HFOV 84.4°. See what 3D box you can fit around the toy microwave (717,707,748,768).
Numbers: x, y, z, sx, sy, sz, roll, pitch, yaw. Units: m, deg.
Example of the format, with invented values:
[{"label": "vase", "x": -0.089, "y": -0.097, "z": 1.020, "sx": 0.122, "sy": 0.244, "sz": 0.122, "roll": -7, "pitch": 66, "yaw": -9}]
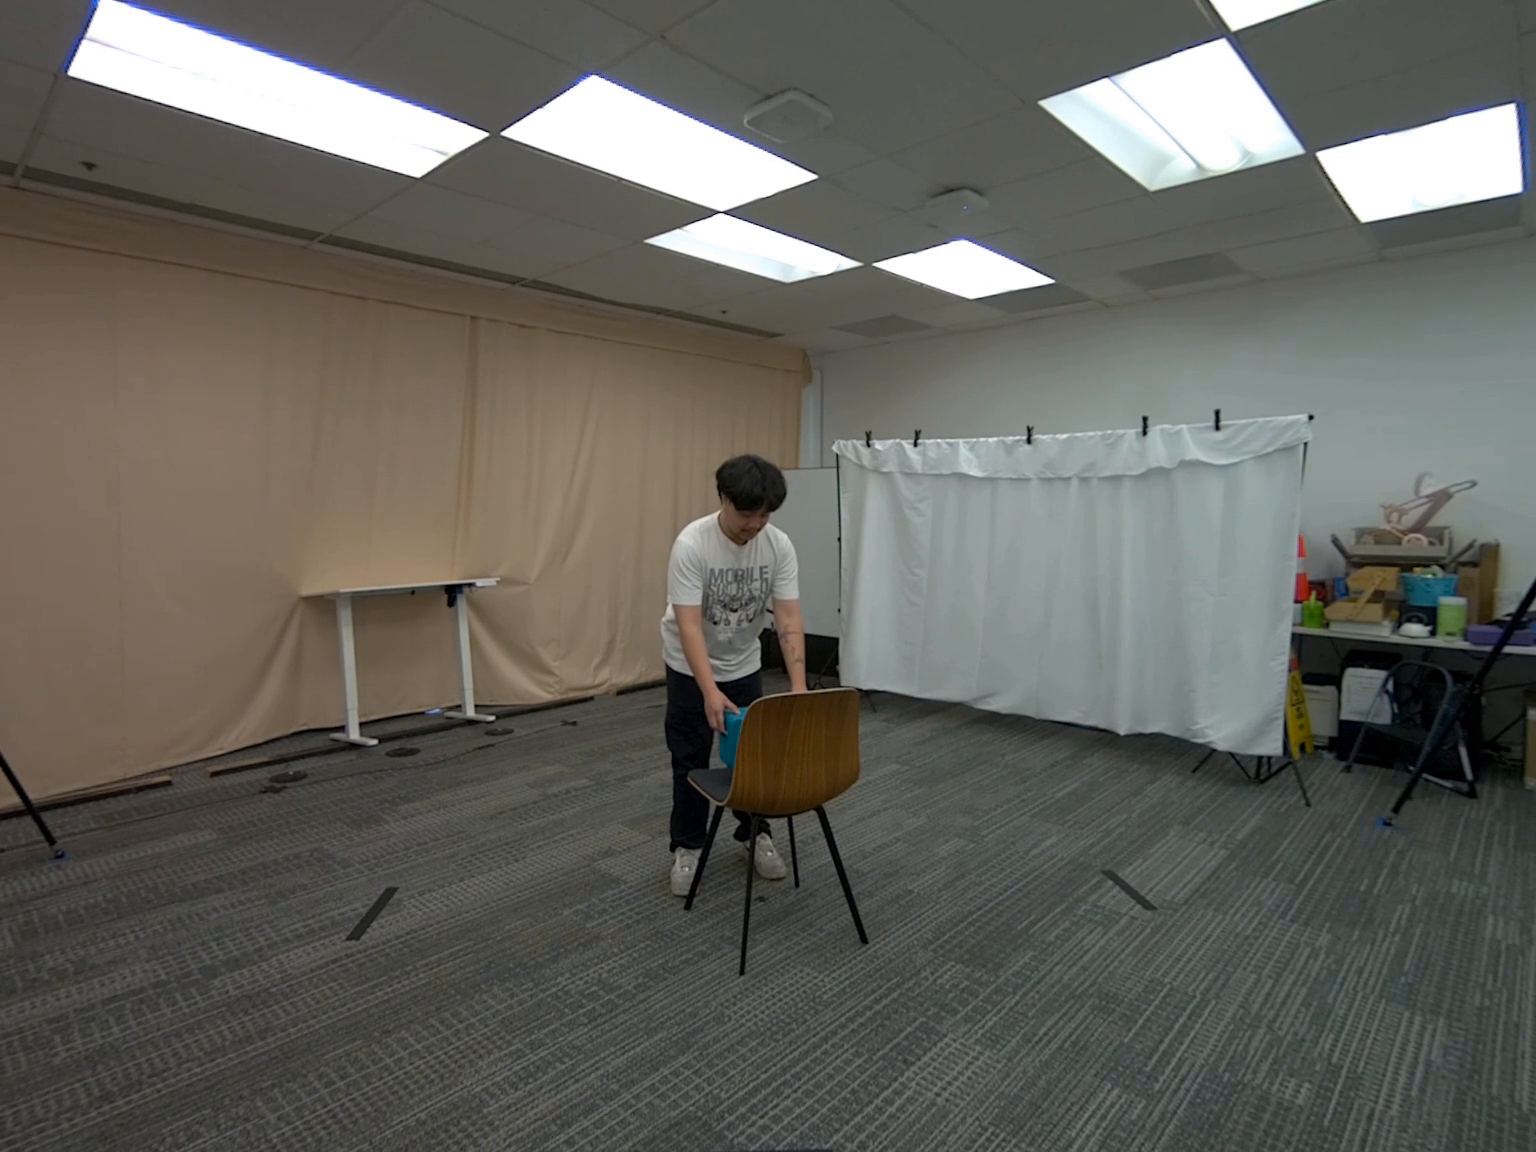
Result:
[{"label": "toy microwave", "x": -0.021, "y": 0.531, "z": 2.811, "sx": 0.280, "sy": 0.183, "sz": 0.156, "roll": -3, "pitch": 5, "yaw": -21}]
